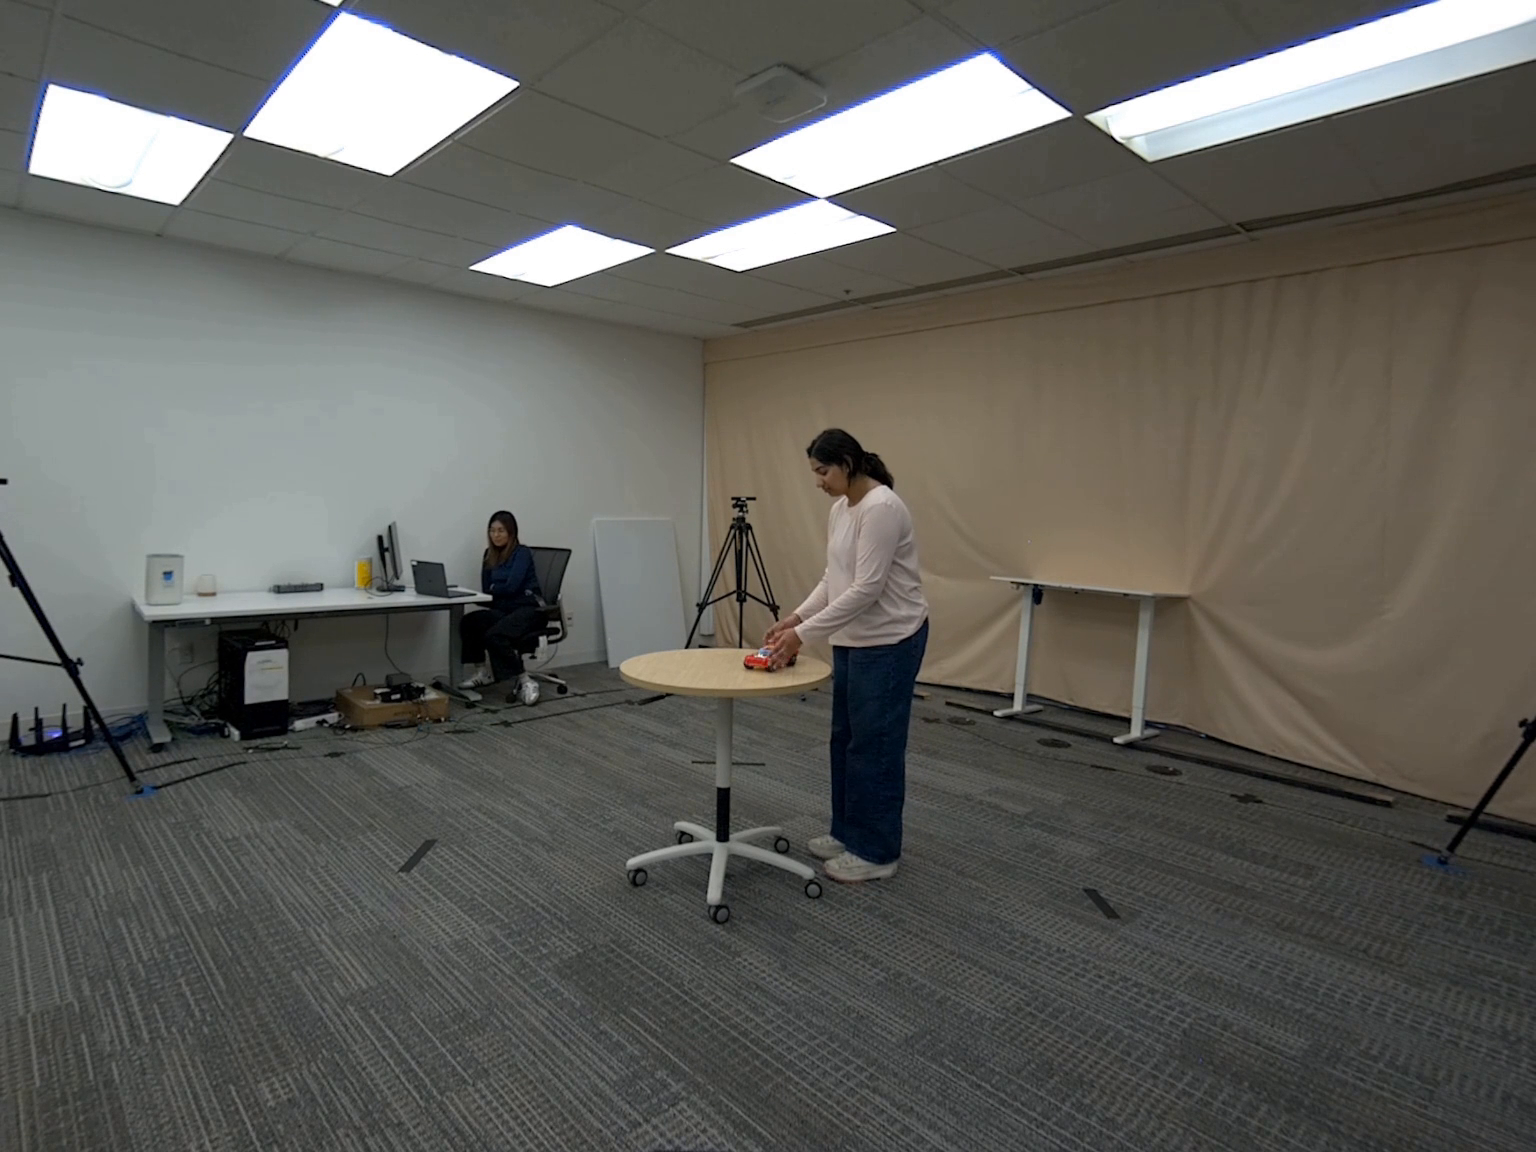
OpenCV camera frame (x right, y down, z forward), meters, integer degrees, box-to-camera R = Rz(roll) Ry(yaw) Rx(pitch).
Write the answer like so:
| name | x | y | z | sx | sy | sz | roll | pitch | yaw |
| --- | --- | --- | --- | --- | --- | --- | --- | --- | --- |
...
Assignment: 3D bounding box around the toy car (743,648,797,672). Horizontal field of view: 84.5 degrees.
| name | x | y | z | sx | sy | sz | roll | pitch | yaw |
| --- | --- | --- | --- | --- | --- | --- | --- | --- | --- |
| toy car | 0.014 | 0.298 | 3.059 | 0.133 | 0.082 | 0.251 | 3 | 16 | 32 |
